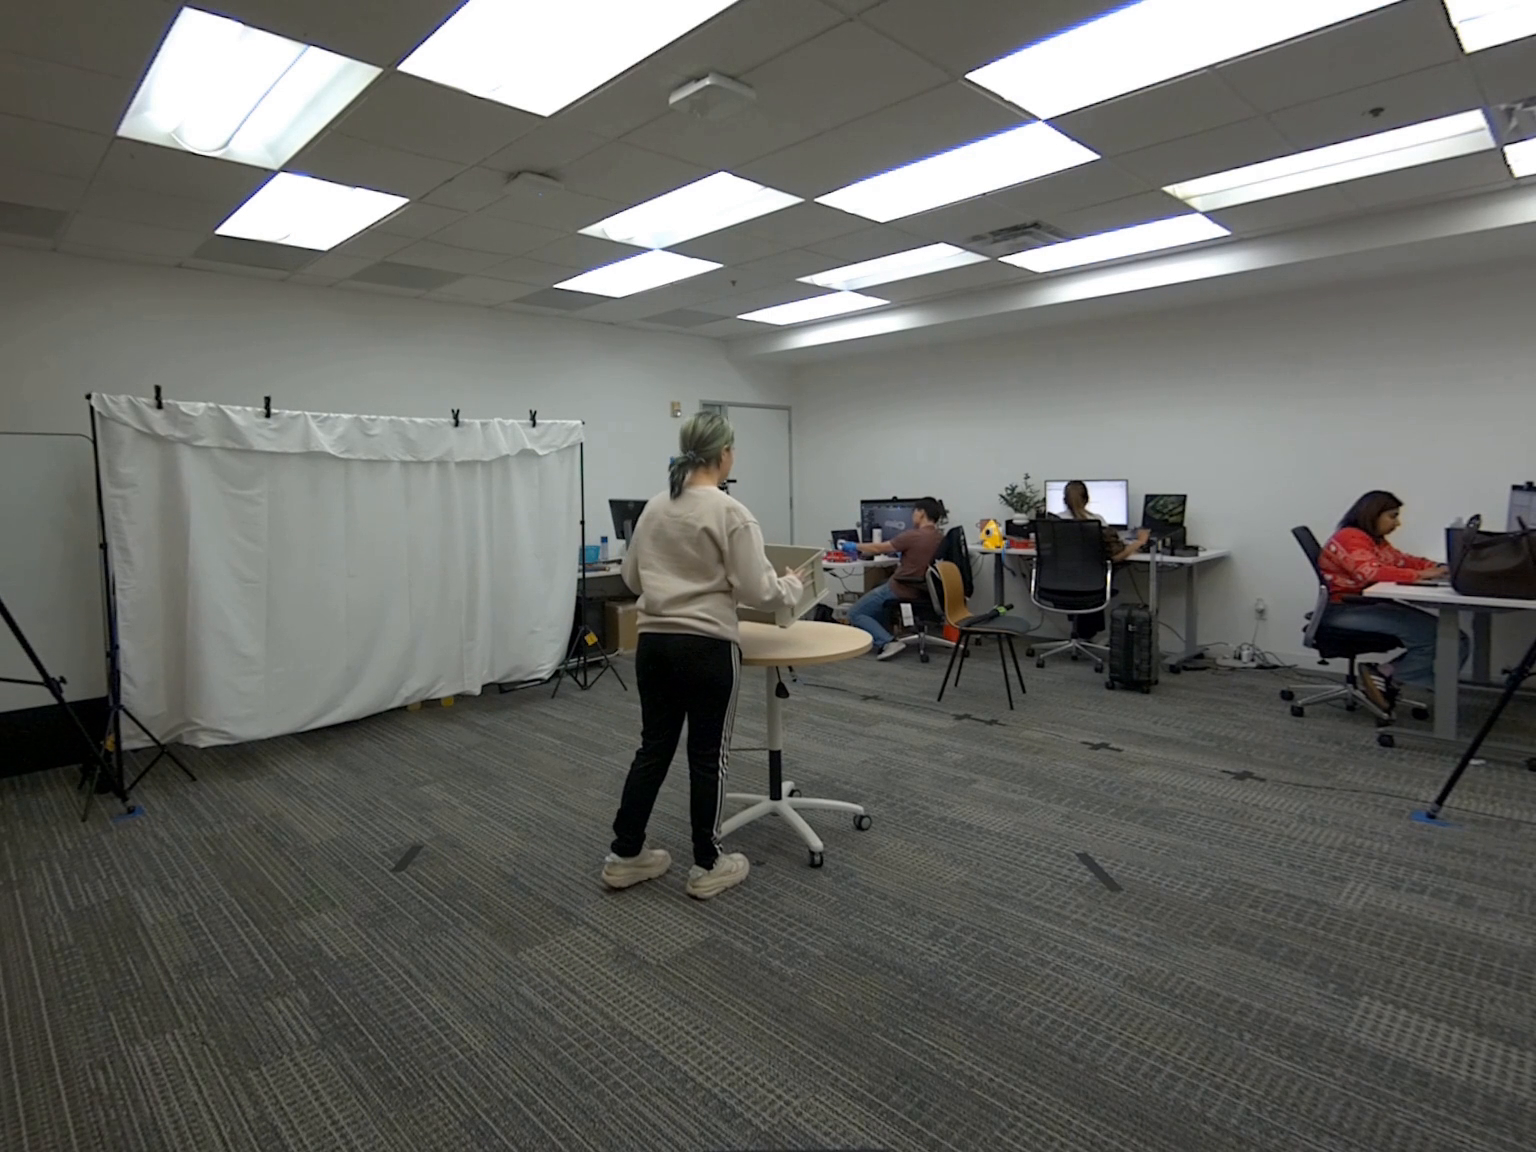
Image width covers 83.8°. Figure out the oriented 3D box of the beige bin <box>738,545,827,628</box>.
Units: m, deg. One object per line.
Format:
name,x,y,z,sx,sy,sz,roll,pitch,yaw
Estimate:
beige bin,-0.040,0.038,3.226,0.435,0.185,0.373,5,24,37
